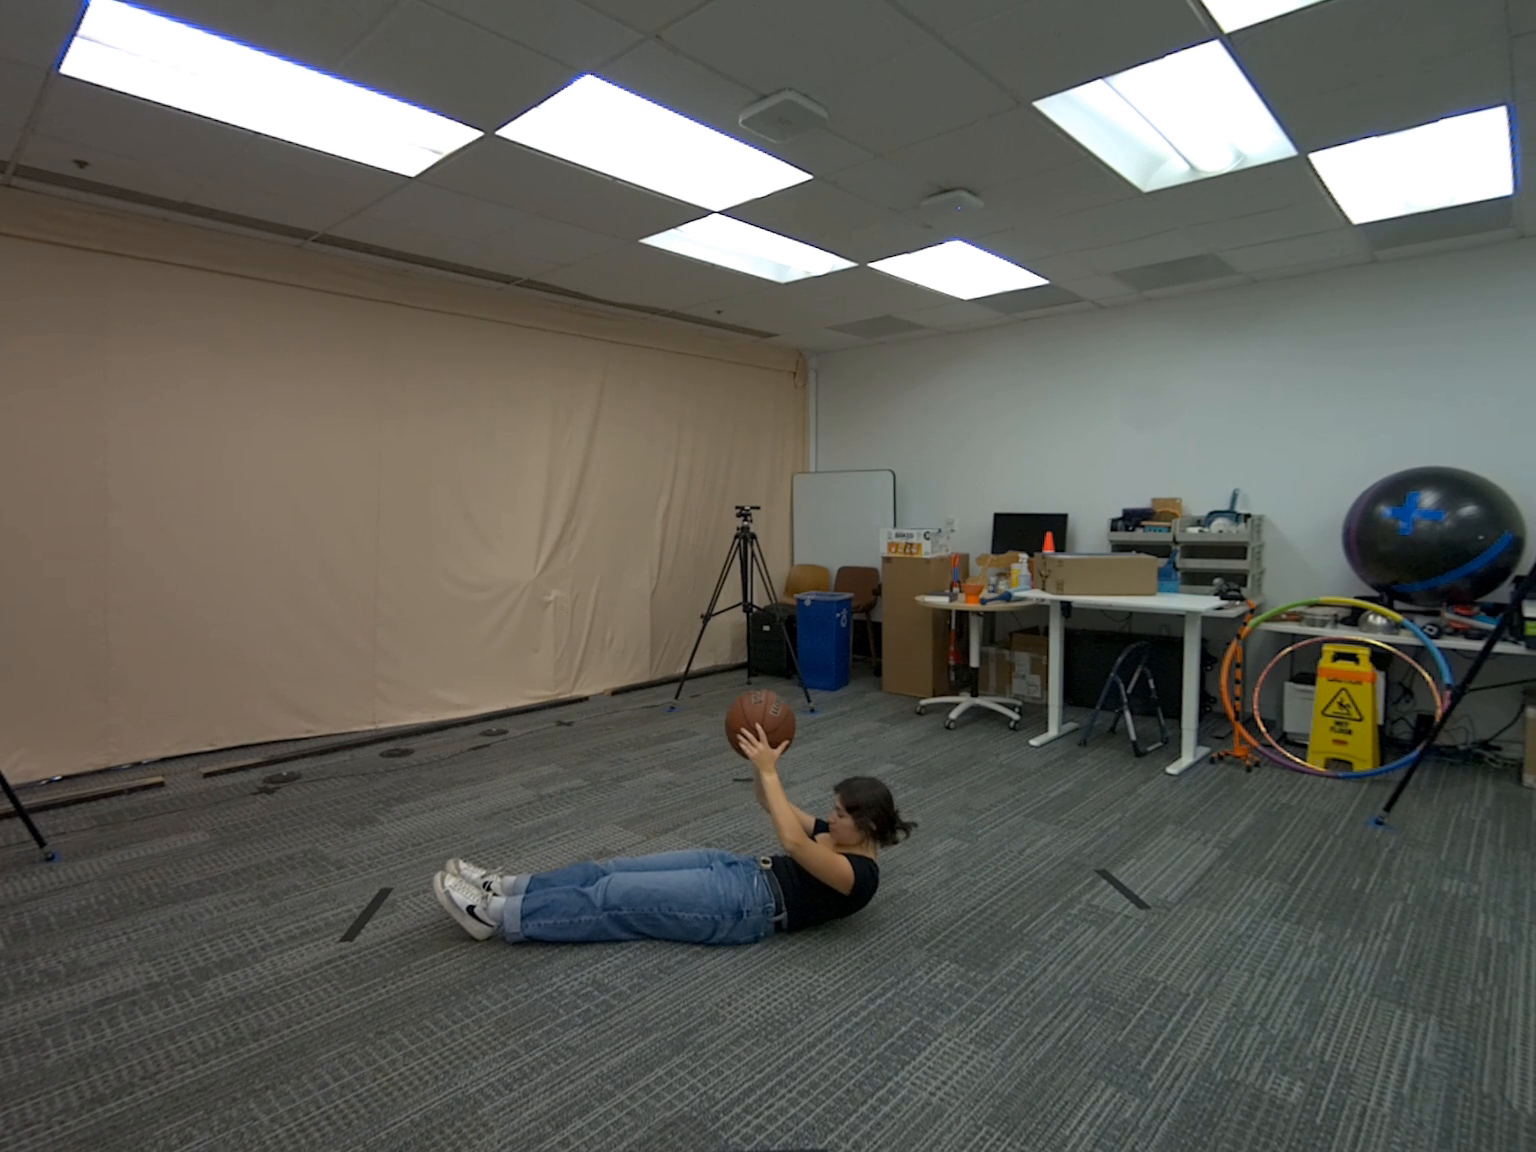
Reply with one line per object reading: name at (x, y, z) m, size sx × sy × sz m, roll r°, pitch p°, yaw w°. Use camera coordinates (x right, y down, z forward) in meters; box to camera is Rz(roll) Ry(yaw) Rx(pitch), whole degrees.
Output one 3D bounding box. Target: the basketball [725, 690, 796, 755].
basketball at (-0.008, 0.500, 2.831) m, size 0.236 × 0.235 × 0.237 m, roll 0°, pitch 4°, yaw -2°
